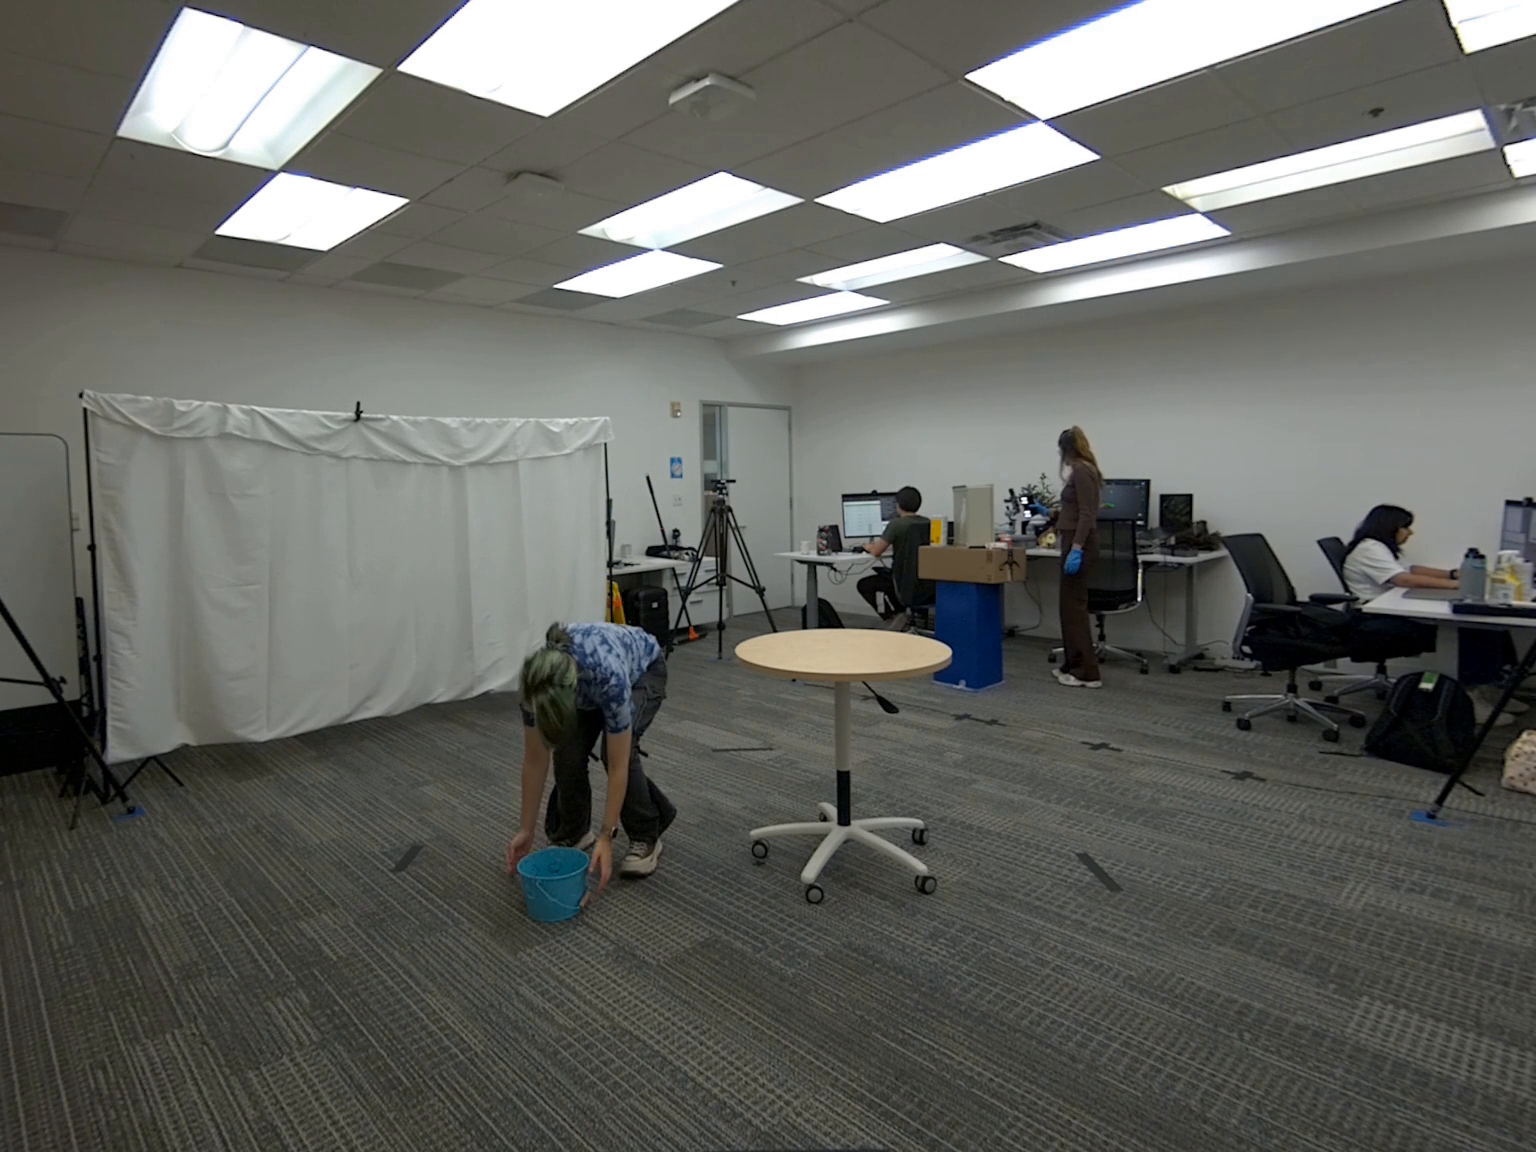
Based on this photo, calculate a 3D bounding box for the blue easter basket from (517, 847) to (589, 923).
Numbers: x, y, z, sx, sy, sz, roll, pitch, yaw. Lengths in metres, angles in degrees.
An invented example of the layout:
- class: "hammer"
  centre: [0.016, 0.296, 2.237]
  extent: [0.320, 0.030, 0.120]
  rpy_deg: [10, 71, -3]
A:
- class: "blue easter basket"
  centre: [-0.696, 1.019, 2.804]
  extent: [0.243, 0.155, 0.245]
  rpy_deg: [-3, 5, -1]
